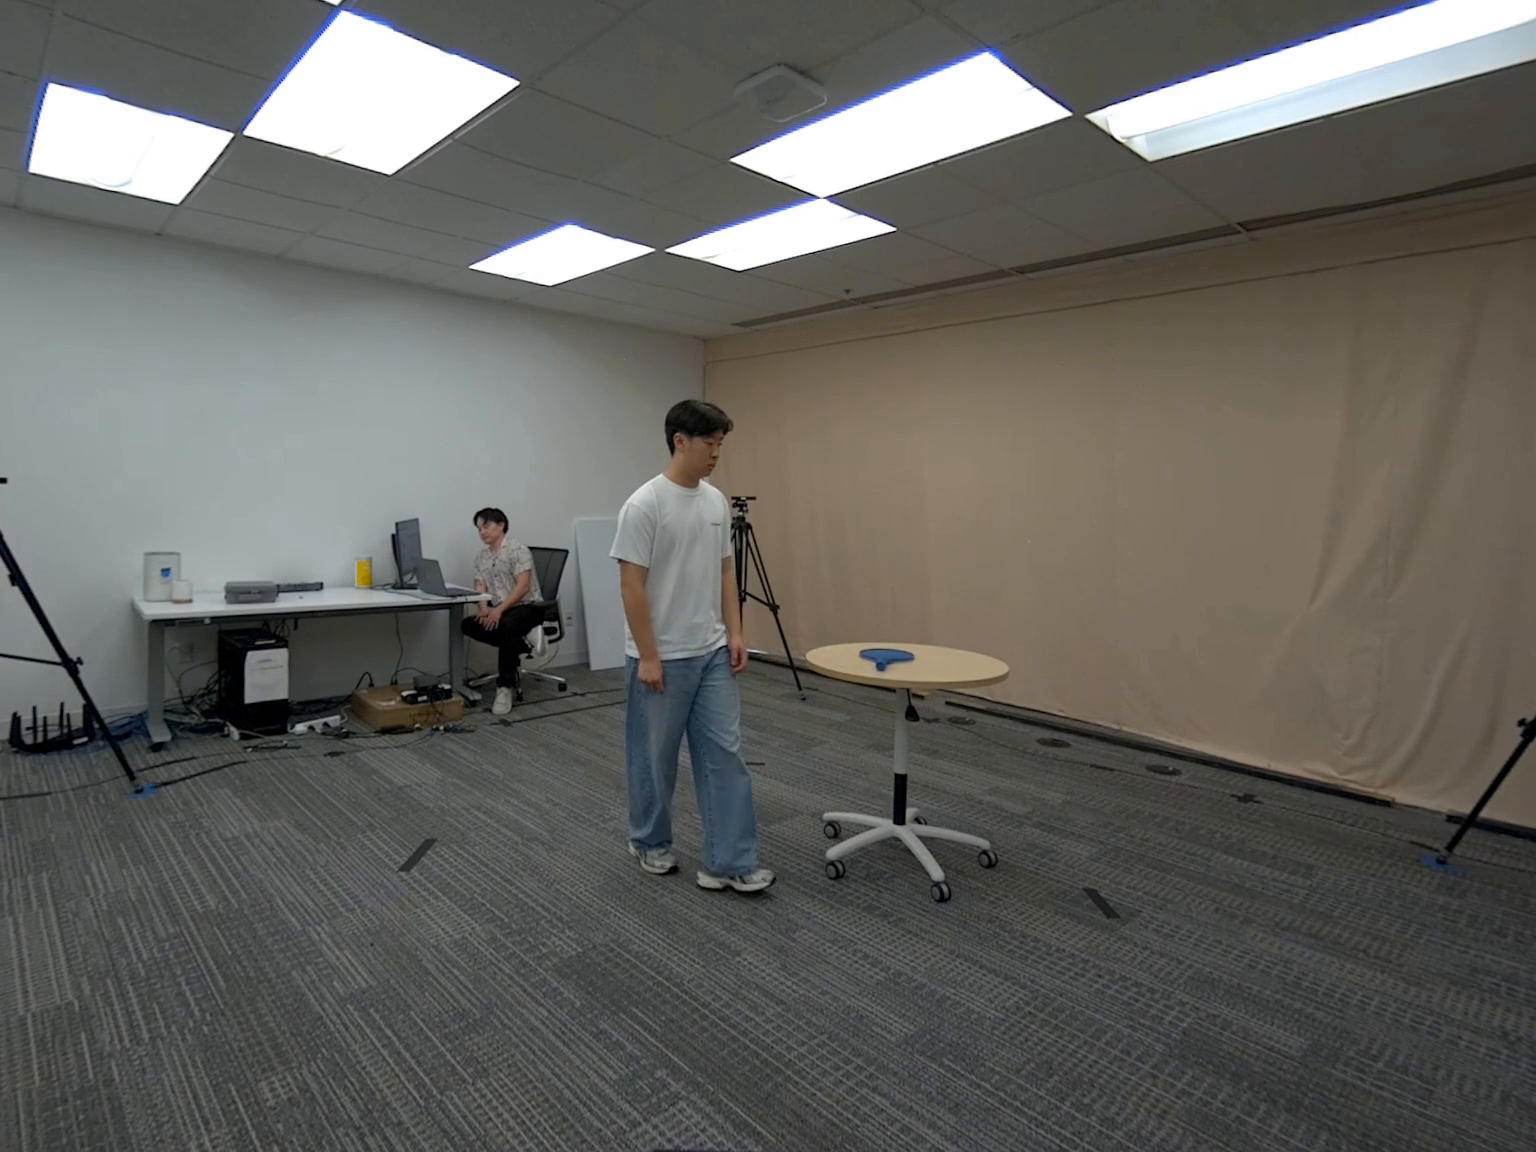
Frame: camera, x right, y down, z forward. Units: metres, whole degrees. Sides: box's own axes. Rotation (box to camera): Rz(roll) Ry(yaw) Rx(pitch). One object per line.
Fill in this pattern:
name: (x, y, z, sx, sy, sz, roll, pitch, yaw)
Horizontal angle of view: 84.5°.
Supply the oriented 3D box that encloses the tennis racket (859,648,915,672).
tennis racket: (0.439, 0.310, 3.238, 0.216, 0.032, 0.428, 3, 4, 15)
